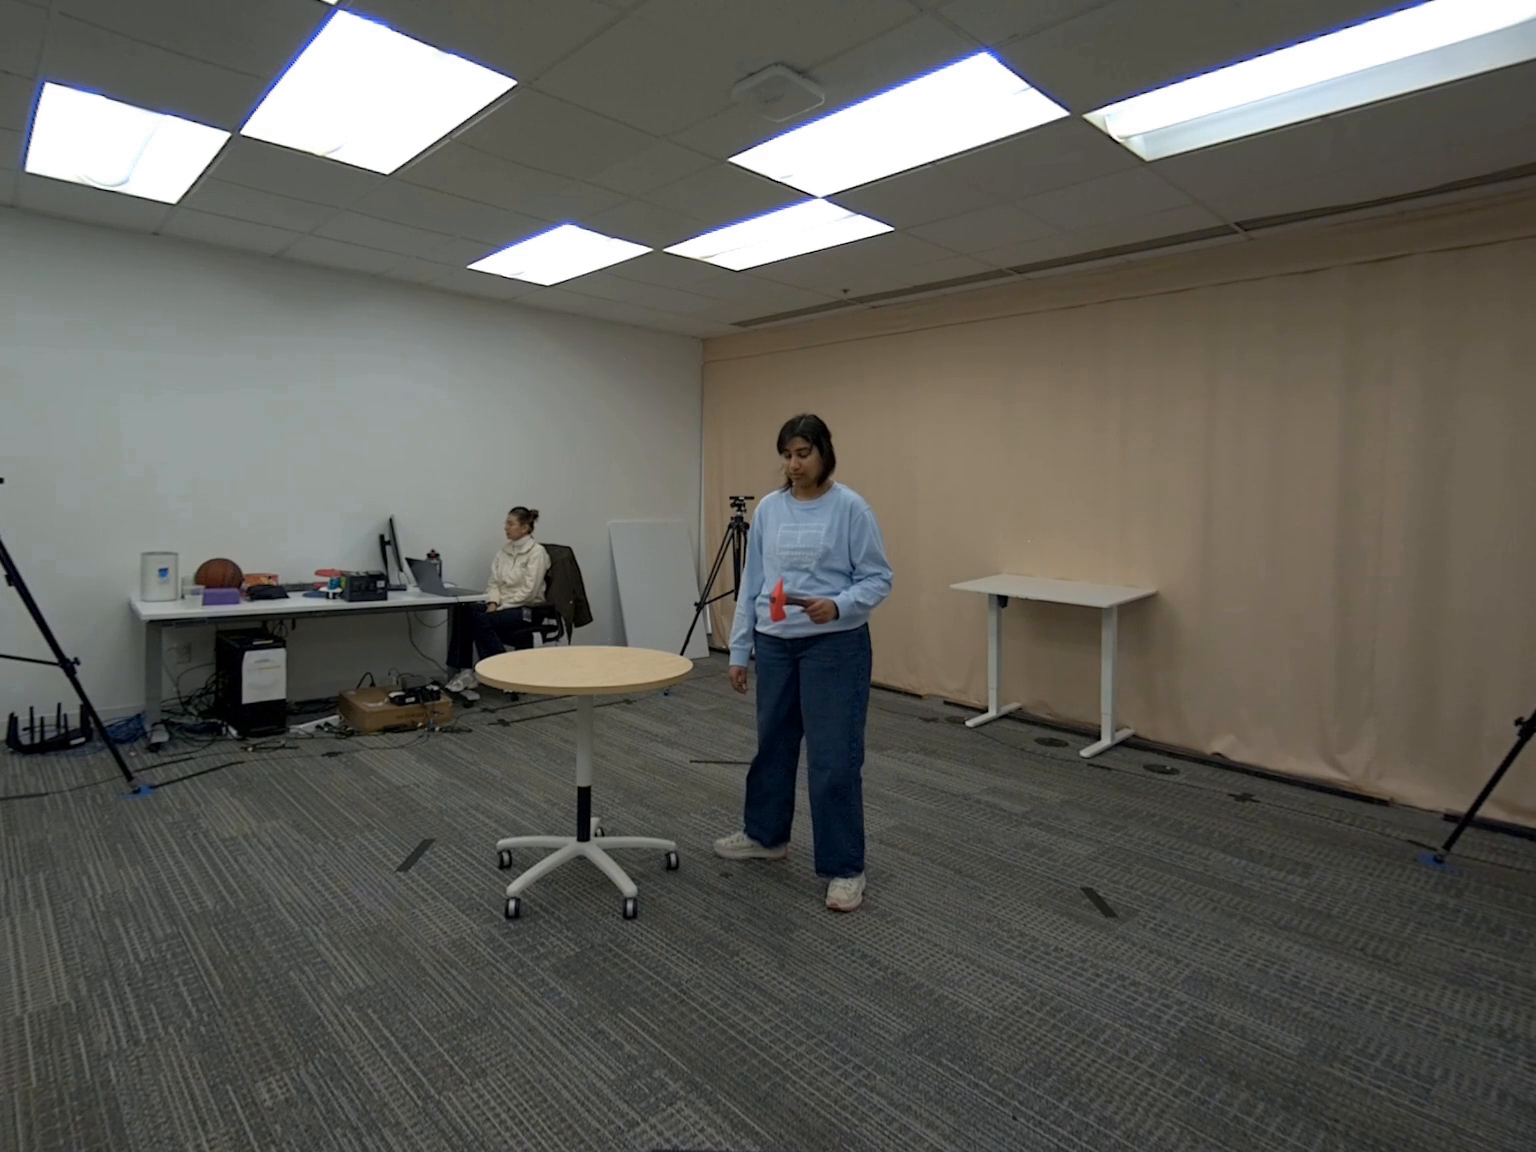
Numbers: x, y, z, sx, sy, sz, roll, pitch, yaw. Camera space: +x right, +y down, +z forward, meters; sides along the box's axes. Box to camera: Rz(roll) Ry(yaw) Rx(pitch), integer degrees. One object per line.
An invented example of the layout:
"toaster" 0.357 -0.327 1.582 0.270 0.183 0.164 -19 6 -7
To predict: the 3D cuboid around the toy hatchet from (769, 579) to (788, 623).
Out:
"toy hatchet" 0.068 0.119 2.669 0.030 0.132 0.261 1 -24 34
